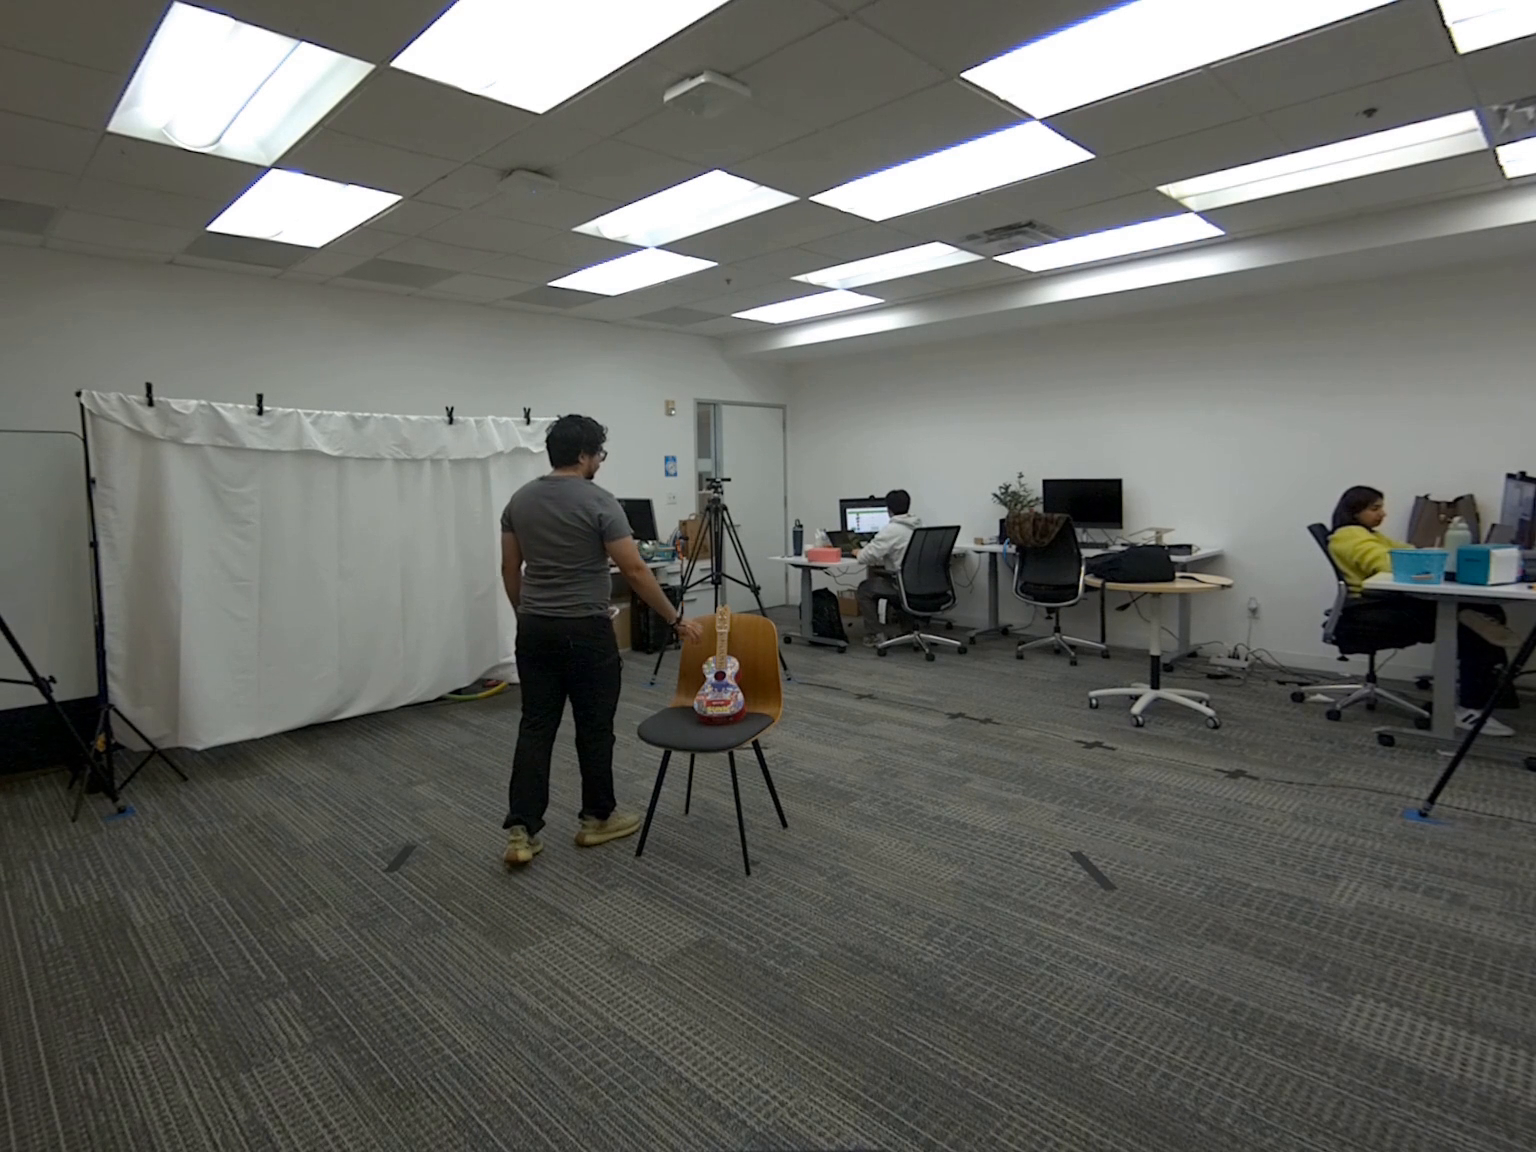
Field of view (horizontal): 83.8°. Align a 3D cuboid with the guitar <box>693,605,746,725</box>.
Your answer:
[{"bbox_3d":[-0.151,0.337,3.340,0.196,0.507,0.068,2,-37,13],"label":"guitar"}]
